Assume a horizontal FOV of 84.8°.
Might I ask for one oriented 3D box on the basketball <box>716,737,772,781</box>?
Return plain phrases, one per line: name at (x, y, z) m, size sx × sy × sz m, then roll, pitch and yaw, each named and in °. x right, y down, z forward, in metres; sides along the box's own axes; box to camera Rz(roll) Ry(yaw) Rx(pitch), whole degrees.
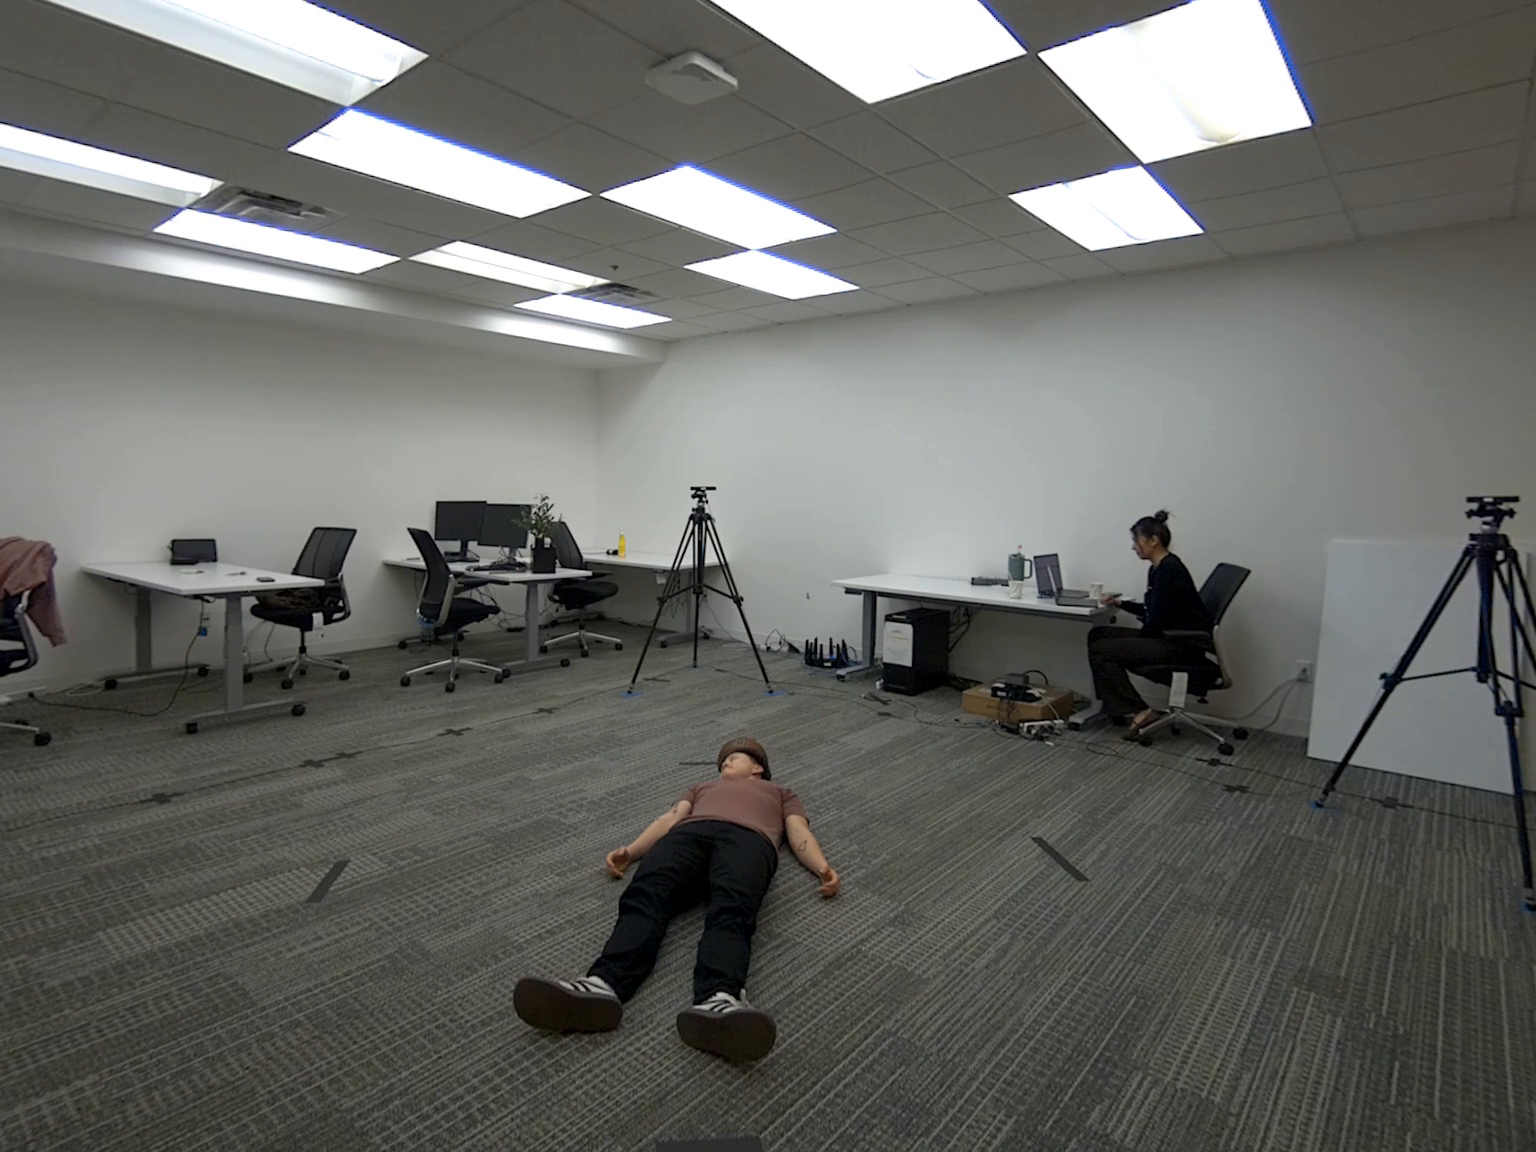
basketball at (-0.133, 0.864, 3.948) m, size 0.236 × 0.235 × 0.237 m, roll -3°, pitch 3°, yaw -2°
